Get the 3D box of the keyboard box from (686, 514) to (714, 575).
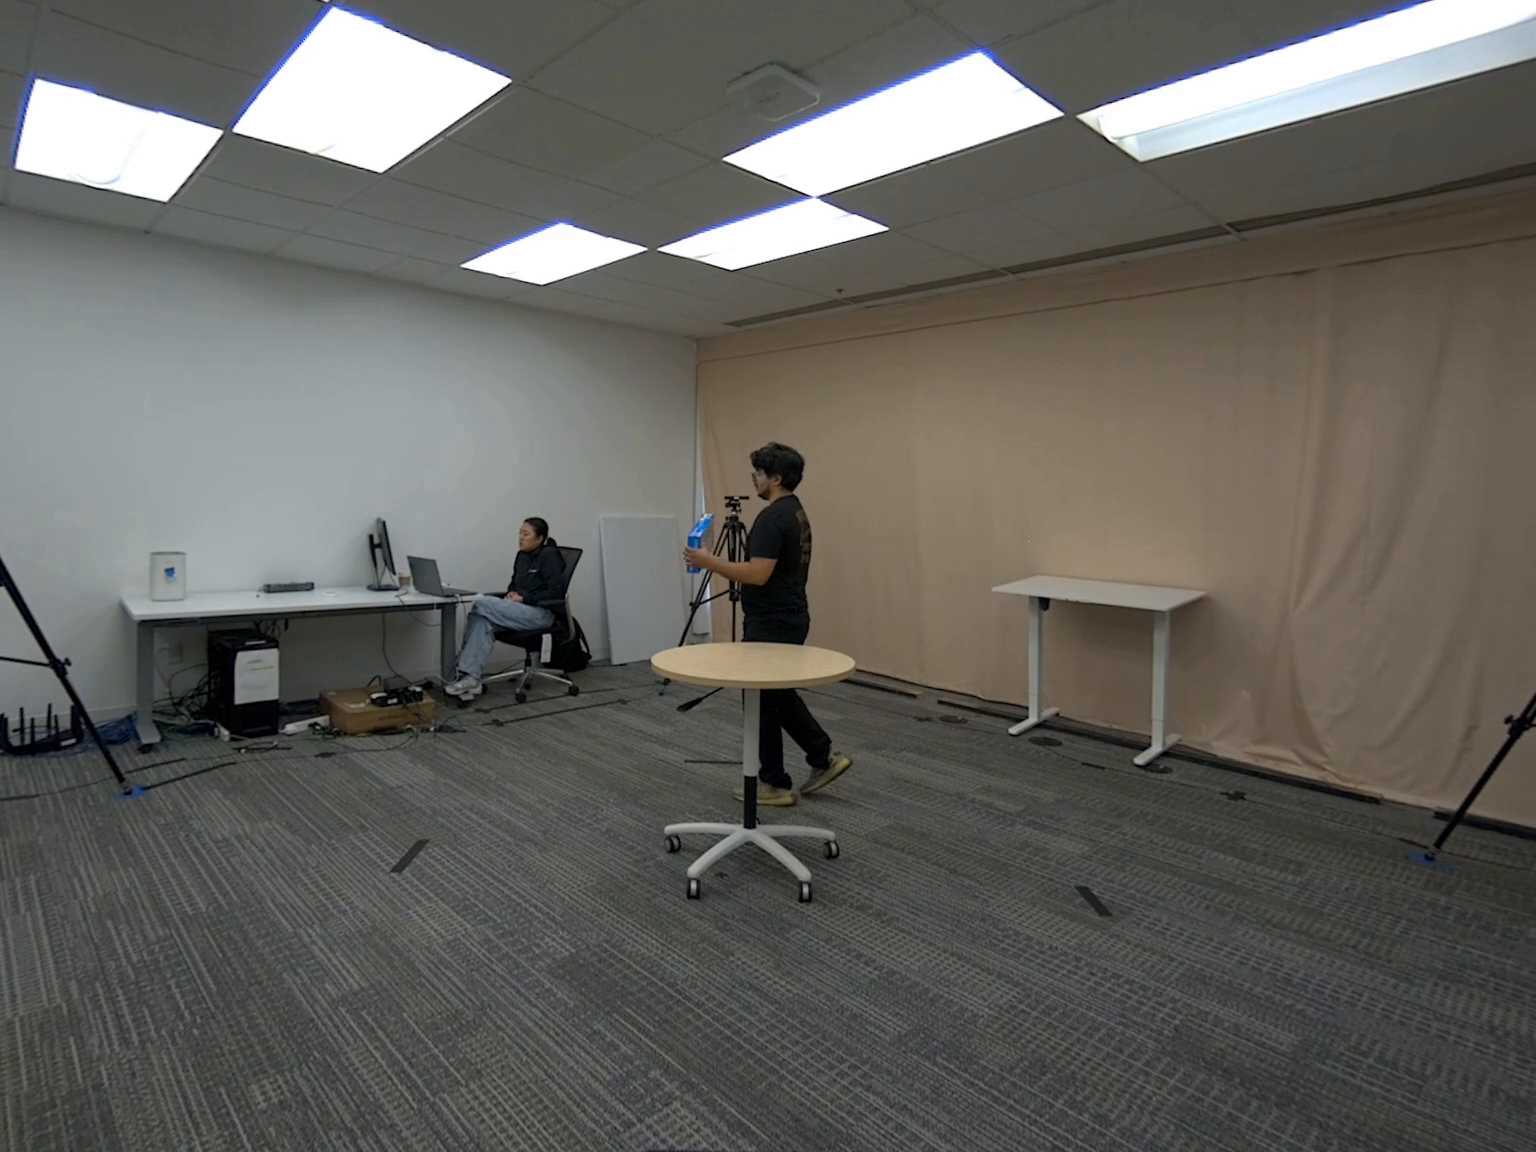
[{"bbox_3d":[-0.313,-0.161,3.967,0.059,0.174,0.439,5,17,4],"label":"keyboard box"}]
